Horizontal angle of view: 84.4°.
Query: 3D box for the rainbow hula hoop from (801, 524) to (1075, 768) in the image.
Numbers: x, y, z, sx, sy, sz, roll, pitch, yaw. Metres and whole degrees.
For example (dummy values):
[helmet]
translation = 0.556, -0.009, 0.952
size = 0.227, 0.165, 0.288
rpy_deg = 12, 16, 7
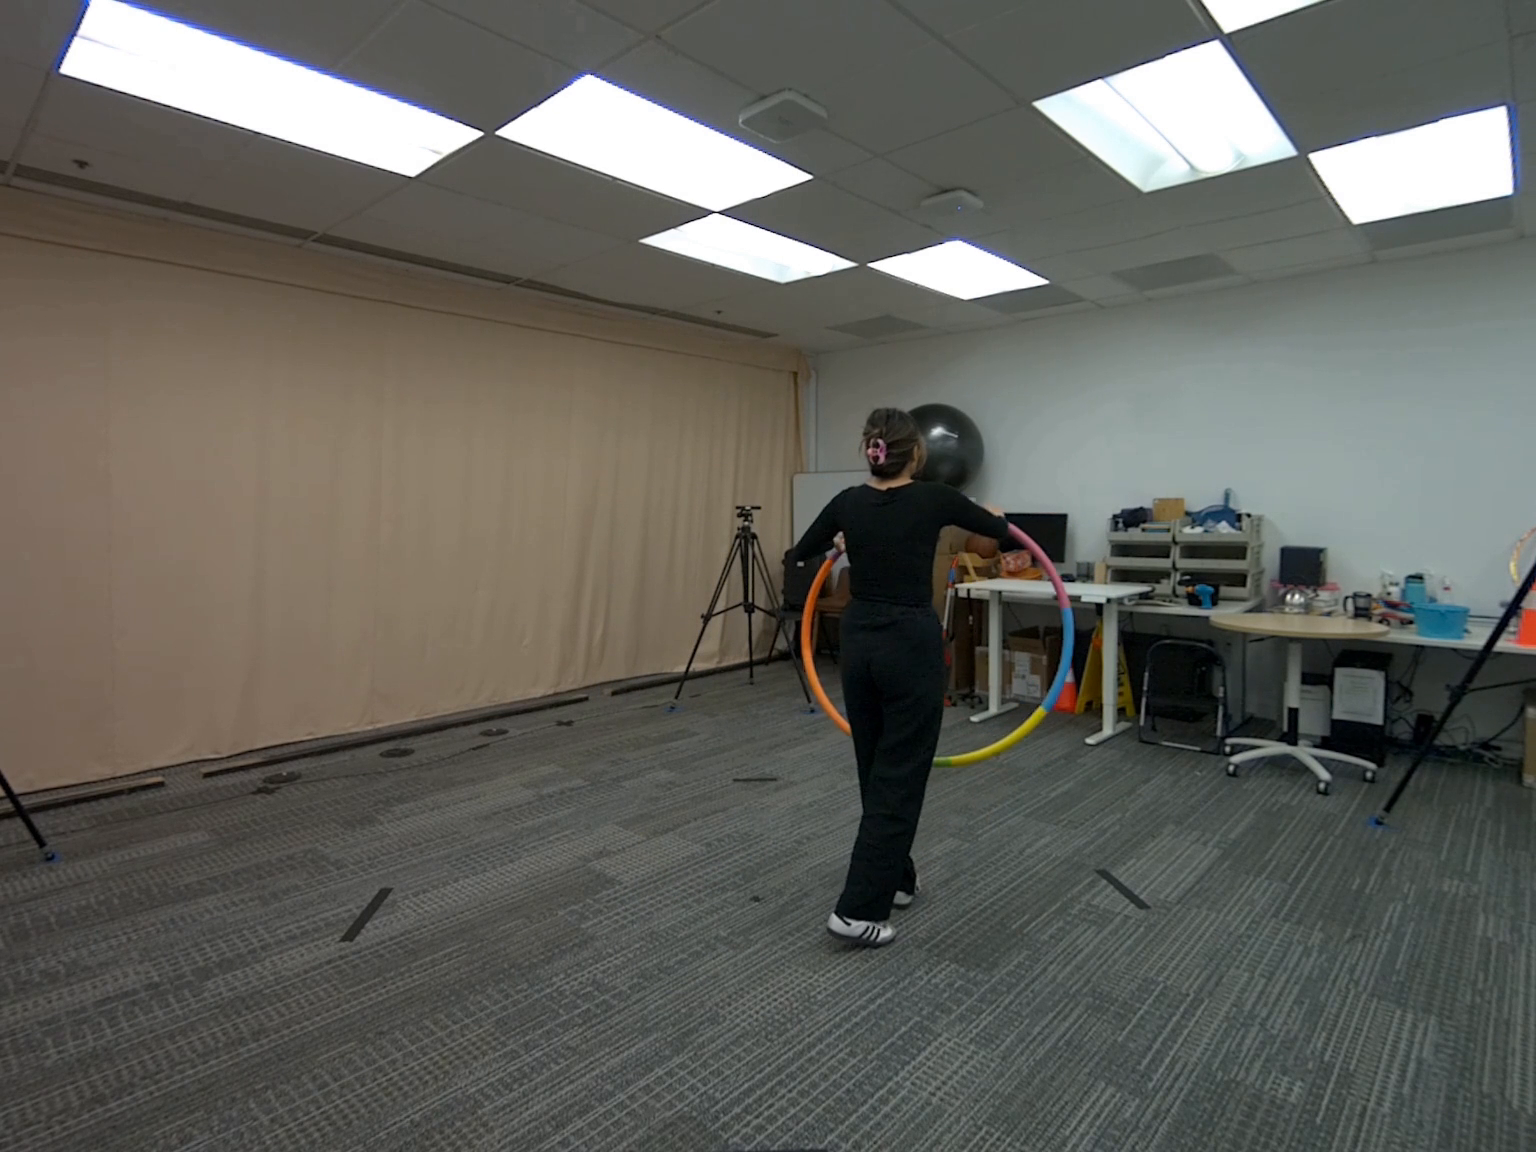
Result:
[rainbow hula hoop]
translation = 0.614, 0.194, 3.131
size = 1.009, 0.992, 0.050
rpy_deg = 1, -17, 24
